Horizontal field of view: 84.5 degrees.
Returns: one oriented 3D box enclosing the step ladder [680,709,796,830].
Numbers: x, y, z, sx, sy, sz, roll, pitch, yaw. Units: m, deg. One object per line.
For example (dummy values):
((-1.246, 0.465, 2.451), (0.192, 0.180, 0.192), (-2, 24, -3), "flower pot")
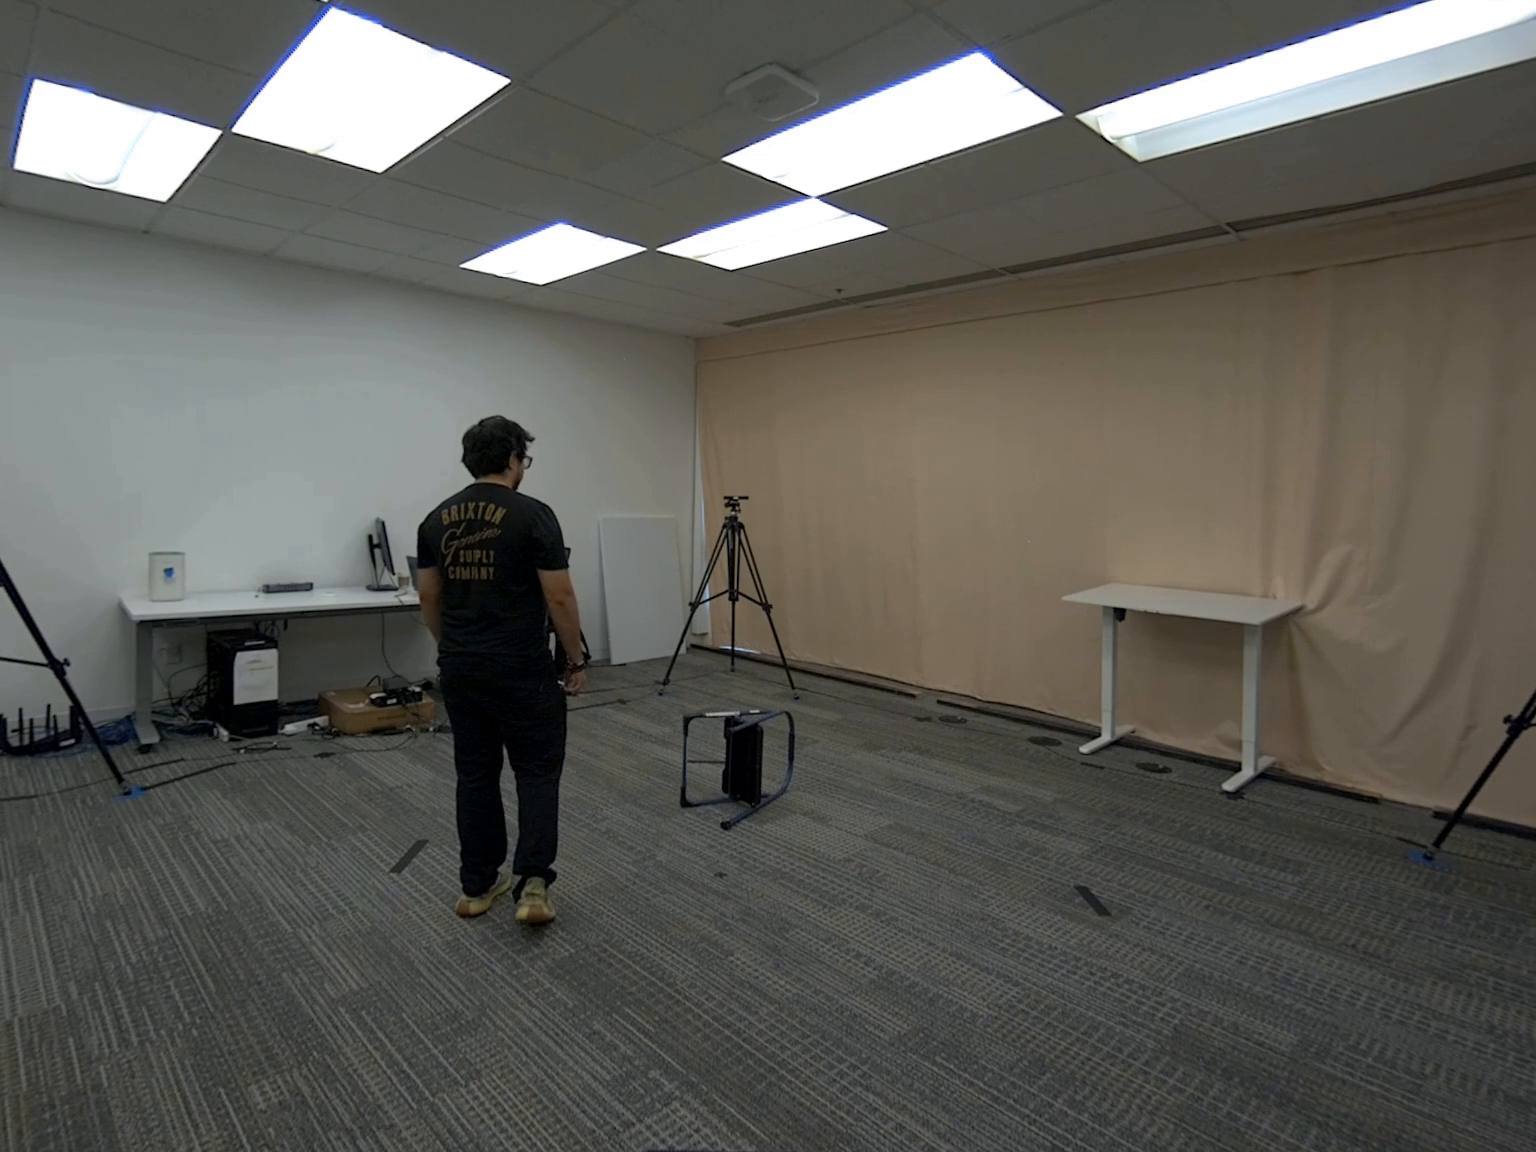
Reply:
((-0.064, 0.835, 3.832), (0.592, 0.430, 0.358), (0, 4, -41), "step ladder")
